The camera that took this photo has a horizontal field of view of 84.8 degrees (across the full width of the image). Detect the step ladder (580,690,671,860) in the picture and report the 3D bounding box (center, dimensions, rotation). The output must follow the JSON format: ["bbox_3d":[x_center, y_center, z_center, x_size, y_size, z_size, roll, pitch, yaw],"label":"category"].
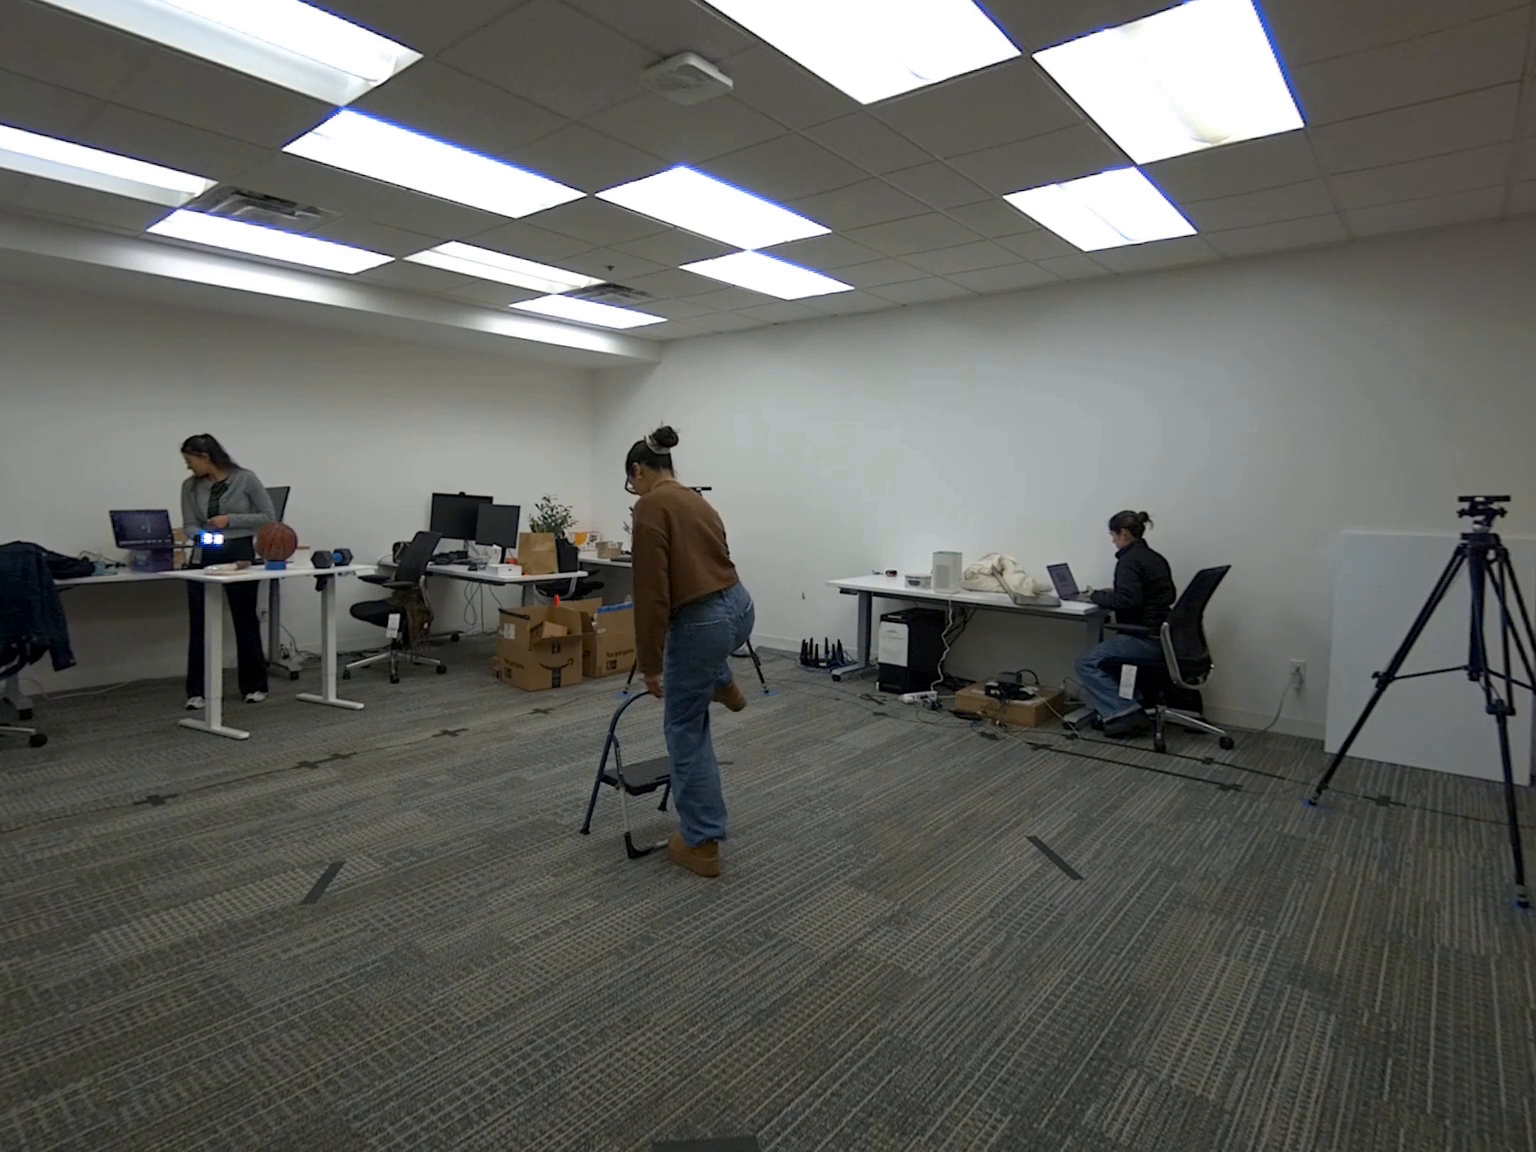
[{"bbox_3d":[-0.495,0.727,3.413,0.417,0.604,0.361,-3,5,-44],"label":"step ladder"}]
